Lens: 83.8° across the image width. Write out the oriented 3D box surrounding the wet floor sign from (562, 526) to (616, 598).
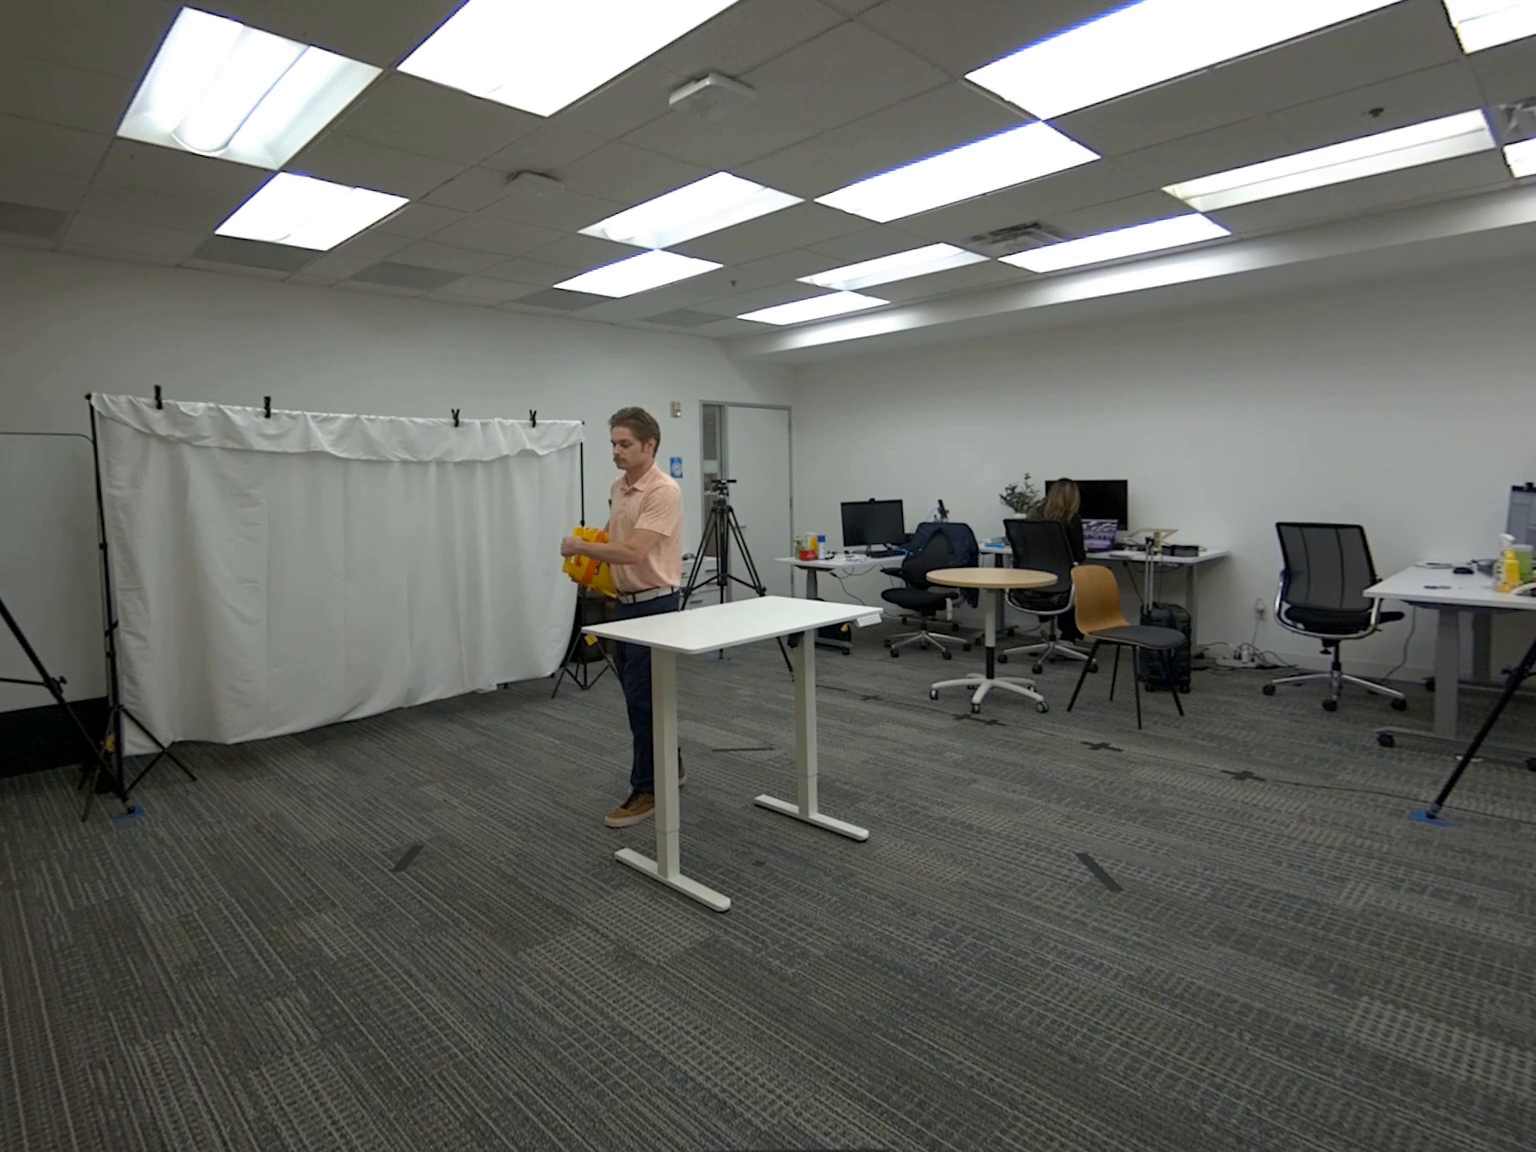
[{"bbox_3d":[-0.713,-0.052,3.801,0.298,0.283,0.626,13,-6,26],"label":"wet floor sign"}]
